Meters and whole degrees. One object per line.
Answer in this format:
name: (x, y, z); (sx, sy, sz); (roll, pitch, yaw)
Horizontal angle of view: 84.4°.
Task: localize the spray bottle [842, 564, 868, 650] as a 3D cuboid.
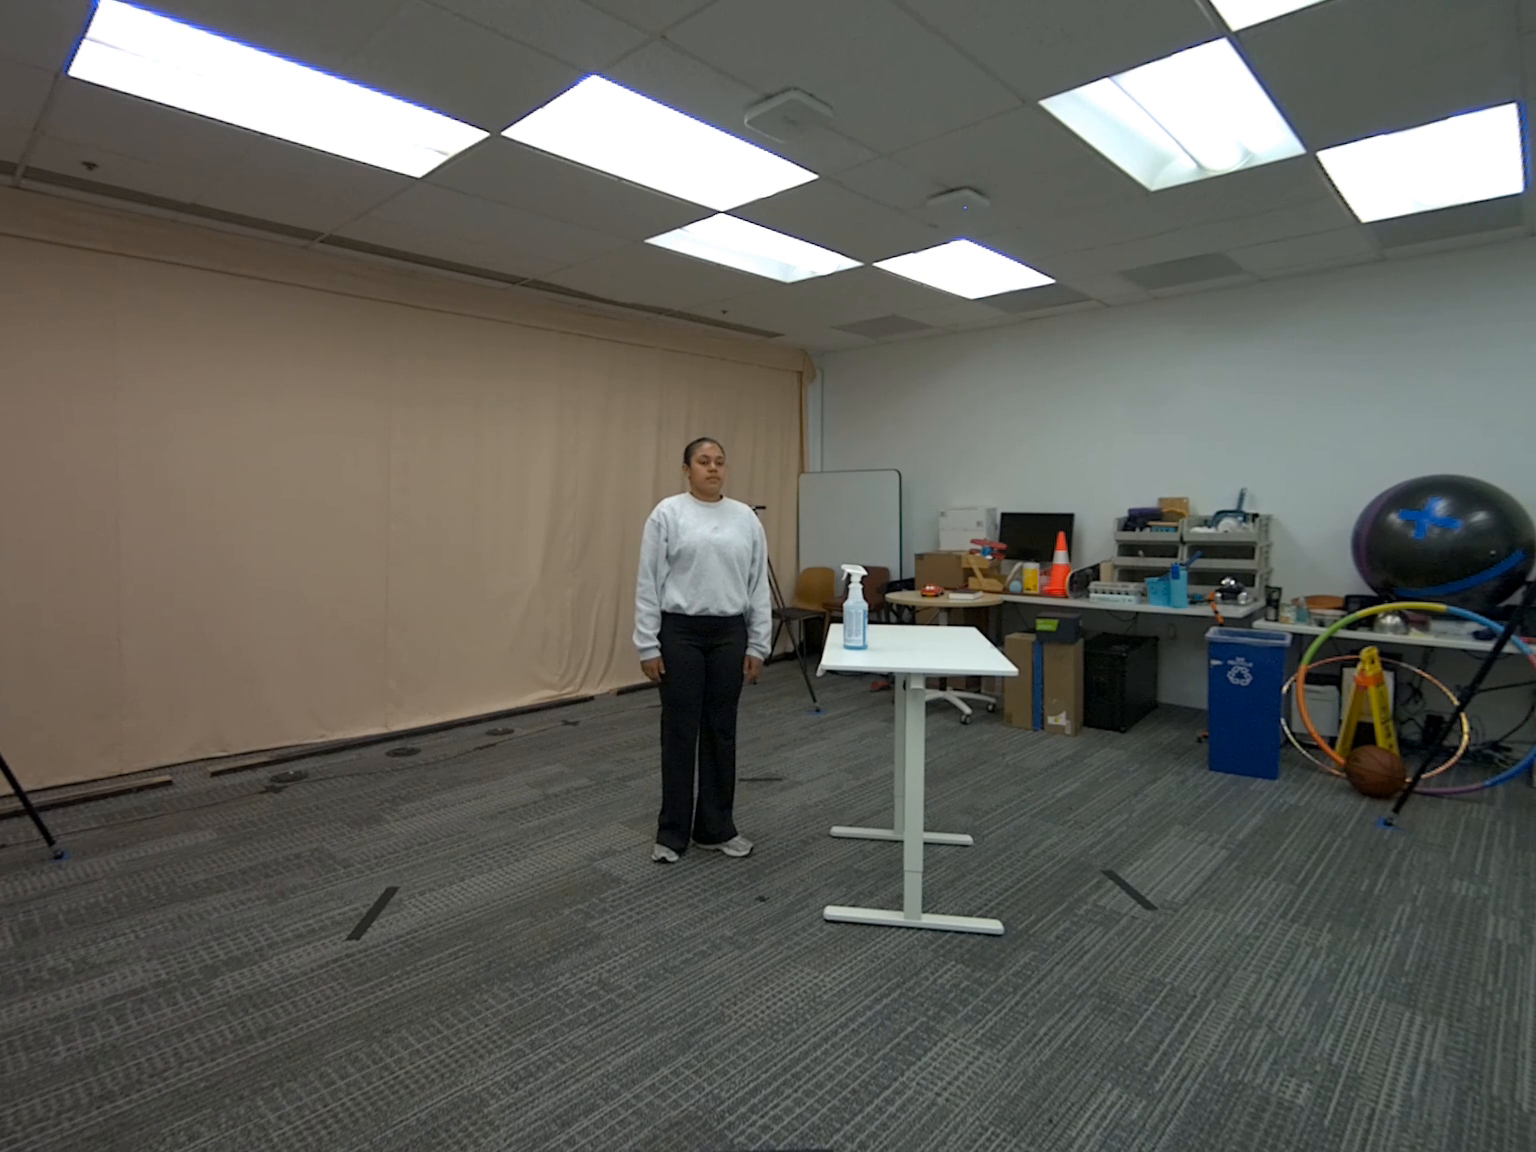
spray bottle: (0.322, 0.113, 2.989); (0.084, 0.297, 0.093); (-2, 3, -39)
